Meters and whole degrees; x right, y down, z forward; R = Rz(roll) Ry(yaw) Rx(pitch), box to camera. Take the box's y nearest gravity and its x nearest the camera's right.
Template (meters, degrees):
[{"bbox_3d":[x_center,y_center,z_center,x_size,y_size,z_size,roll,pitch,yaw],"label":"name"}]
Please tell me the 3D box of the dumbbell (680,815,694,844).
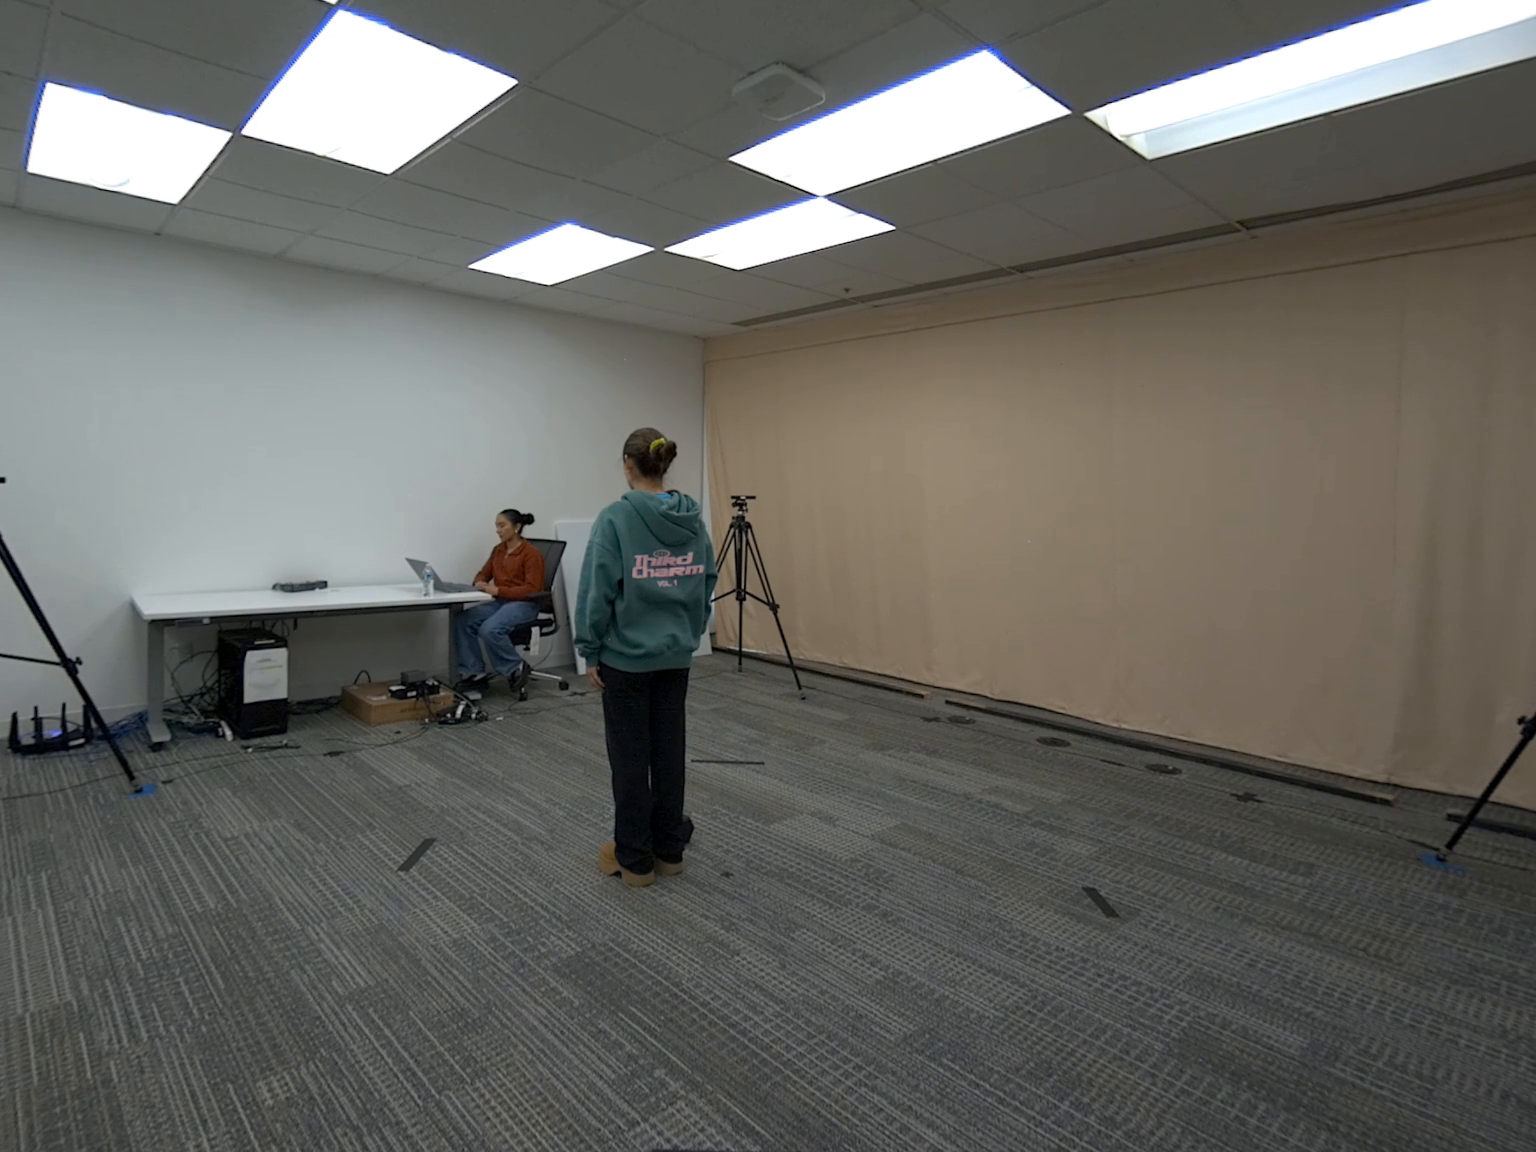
[{"bbox_3d":[-0.439,1.013,3.464,0.301,0.123,0.105,7,-25,46],"label":"dumbbell"}]
